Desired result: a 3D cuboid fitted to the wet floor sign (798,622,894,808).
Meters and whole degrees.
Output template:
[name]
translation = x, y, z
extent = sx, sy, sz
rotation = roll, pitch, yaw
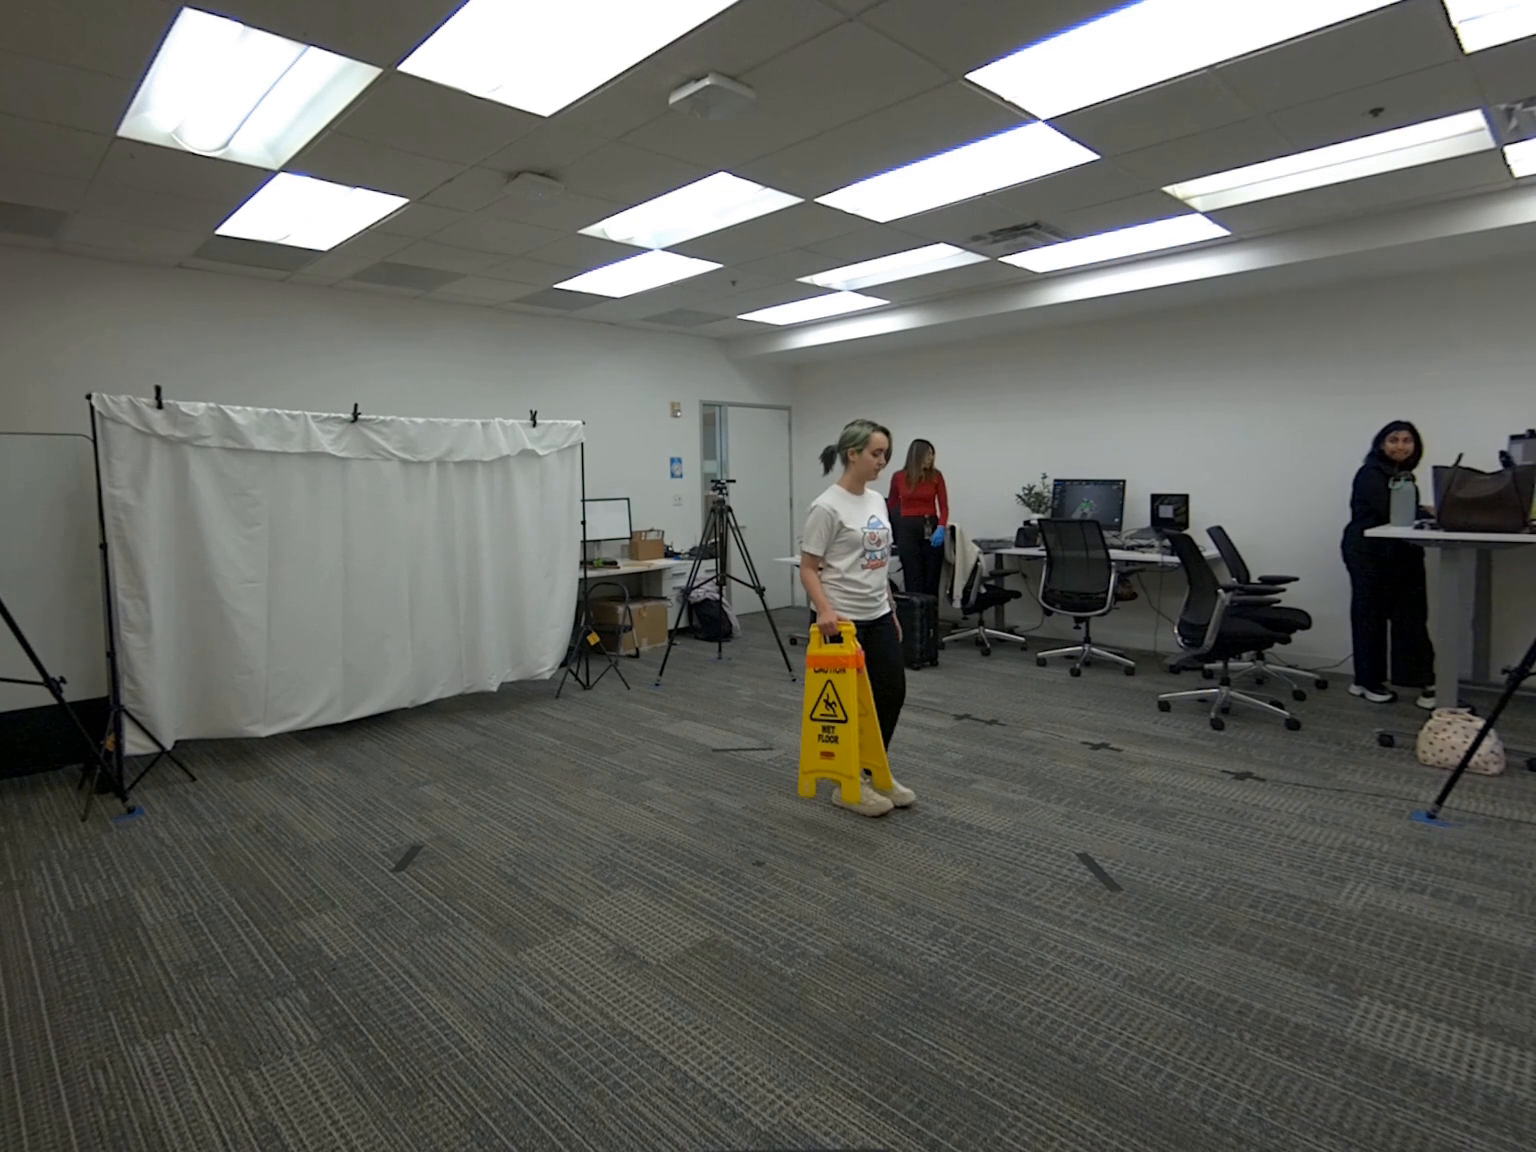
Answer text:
[wet floor sign]
translation = 0.276, 0.511, 3.306
extent = 0.289, 0.648, 0.282
rotation = -8, -3, 40
